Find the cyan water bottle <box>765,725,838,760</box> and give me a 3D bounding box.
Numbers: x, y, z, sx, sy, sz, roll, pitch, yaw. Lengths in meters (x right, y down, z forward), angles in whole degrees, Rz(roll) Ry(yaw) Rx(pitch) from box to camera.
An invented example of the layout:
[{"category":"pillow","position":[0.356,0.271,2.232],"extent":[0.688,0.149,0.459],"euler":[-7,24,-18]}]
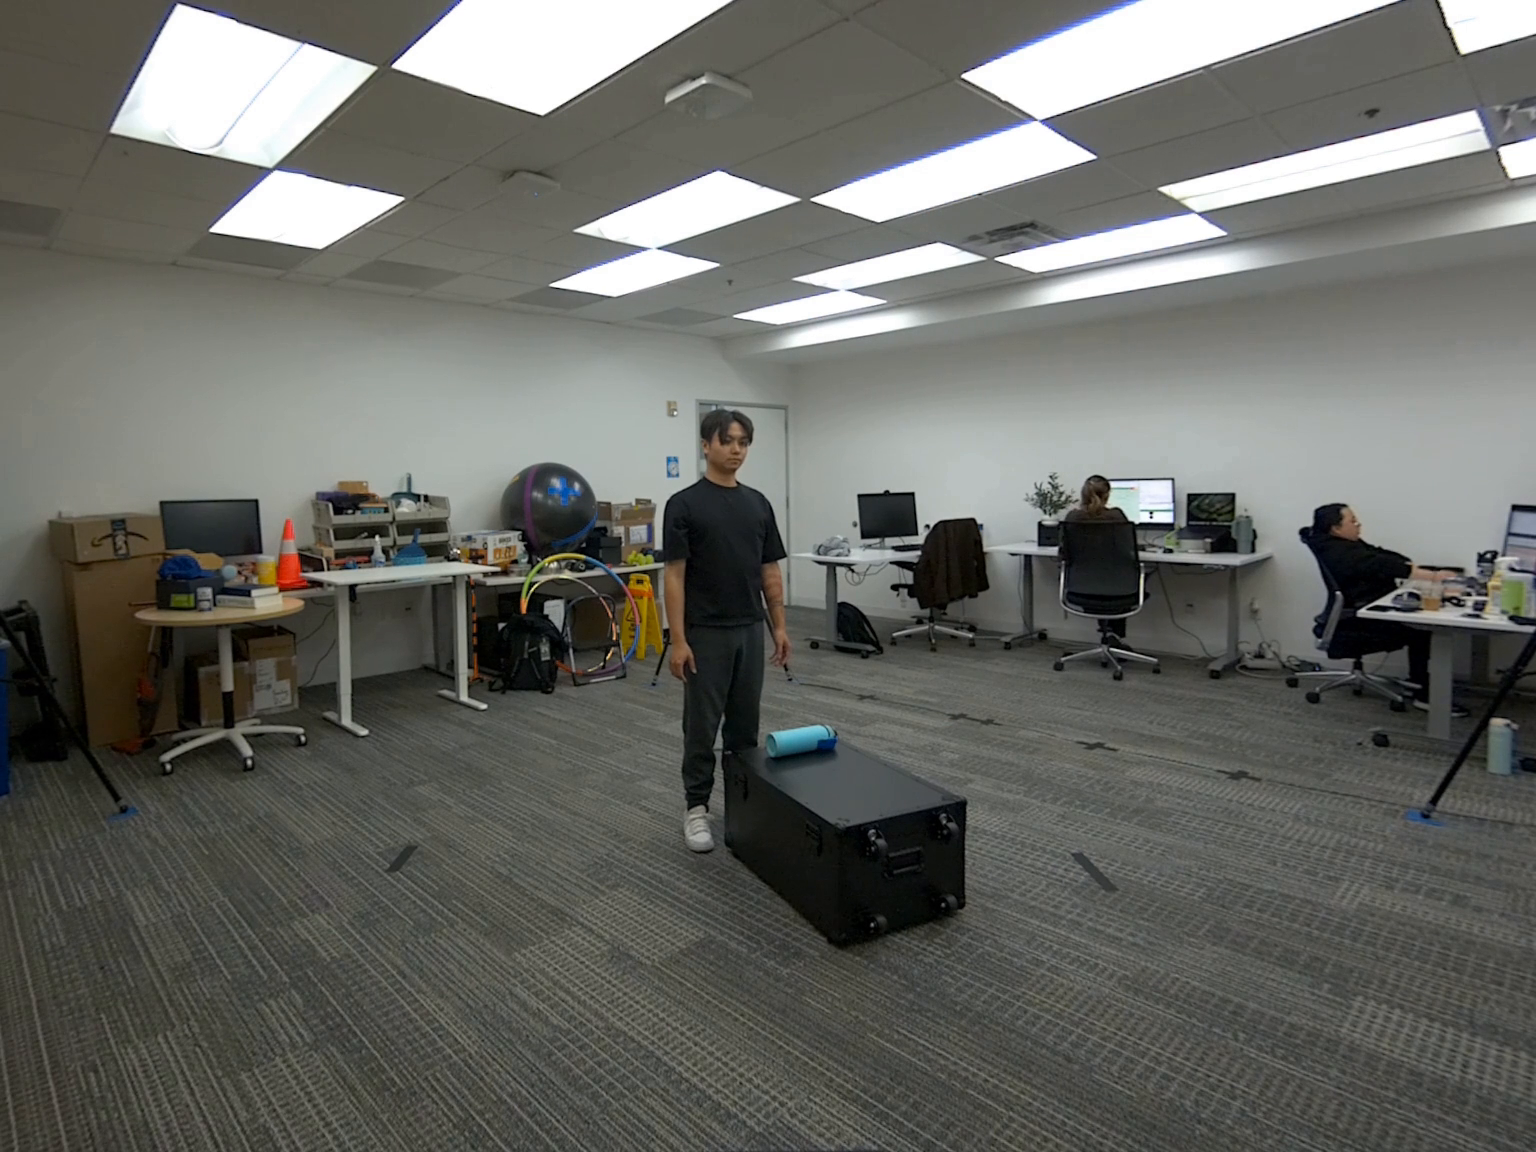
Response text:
[{"category":"cyan water bottle","position":[0.133,0.610,3.188],"extent":[0.277,0.092,0.095],"euler":[-3,5,-27]}]
